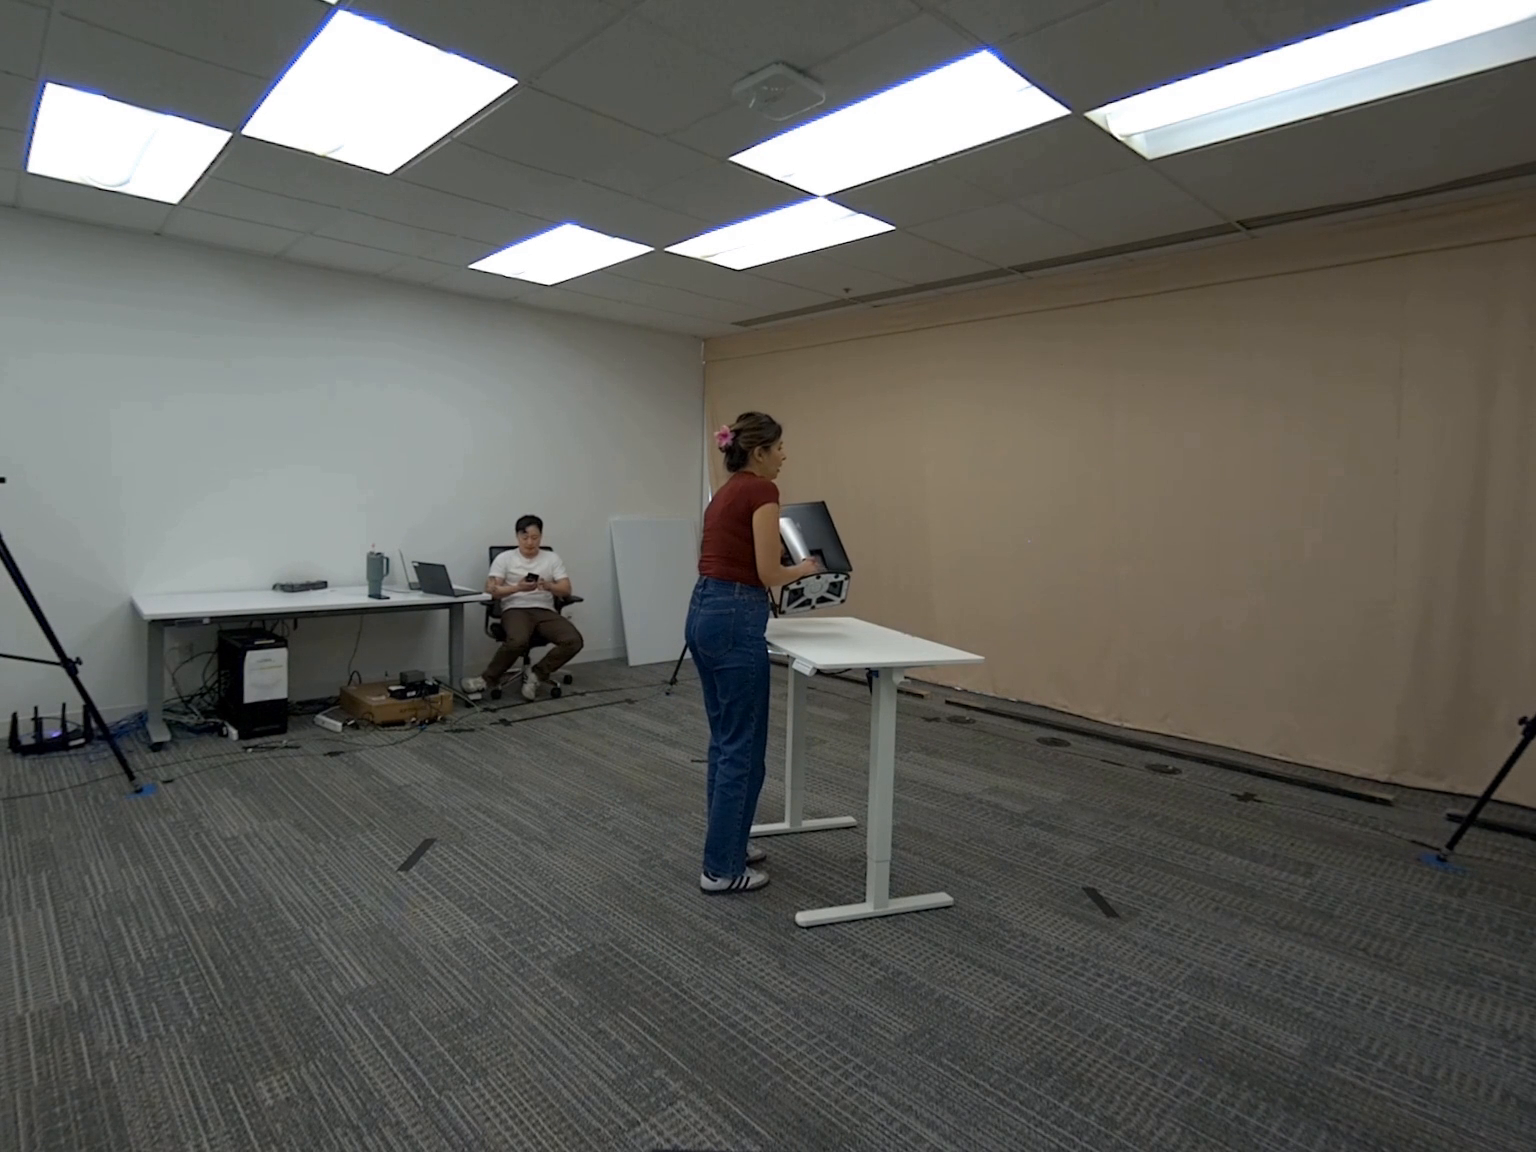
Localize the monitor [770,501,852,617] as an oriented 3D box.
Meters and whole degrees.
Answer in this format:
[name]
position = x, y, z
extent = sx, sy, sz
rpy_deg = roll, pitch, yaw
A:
[monitor]
position = 0.082, -0.095, 3.342
extent = 0.532, 0.184, 0.538
rpy_deg = -8, 46, -20
